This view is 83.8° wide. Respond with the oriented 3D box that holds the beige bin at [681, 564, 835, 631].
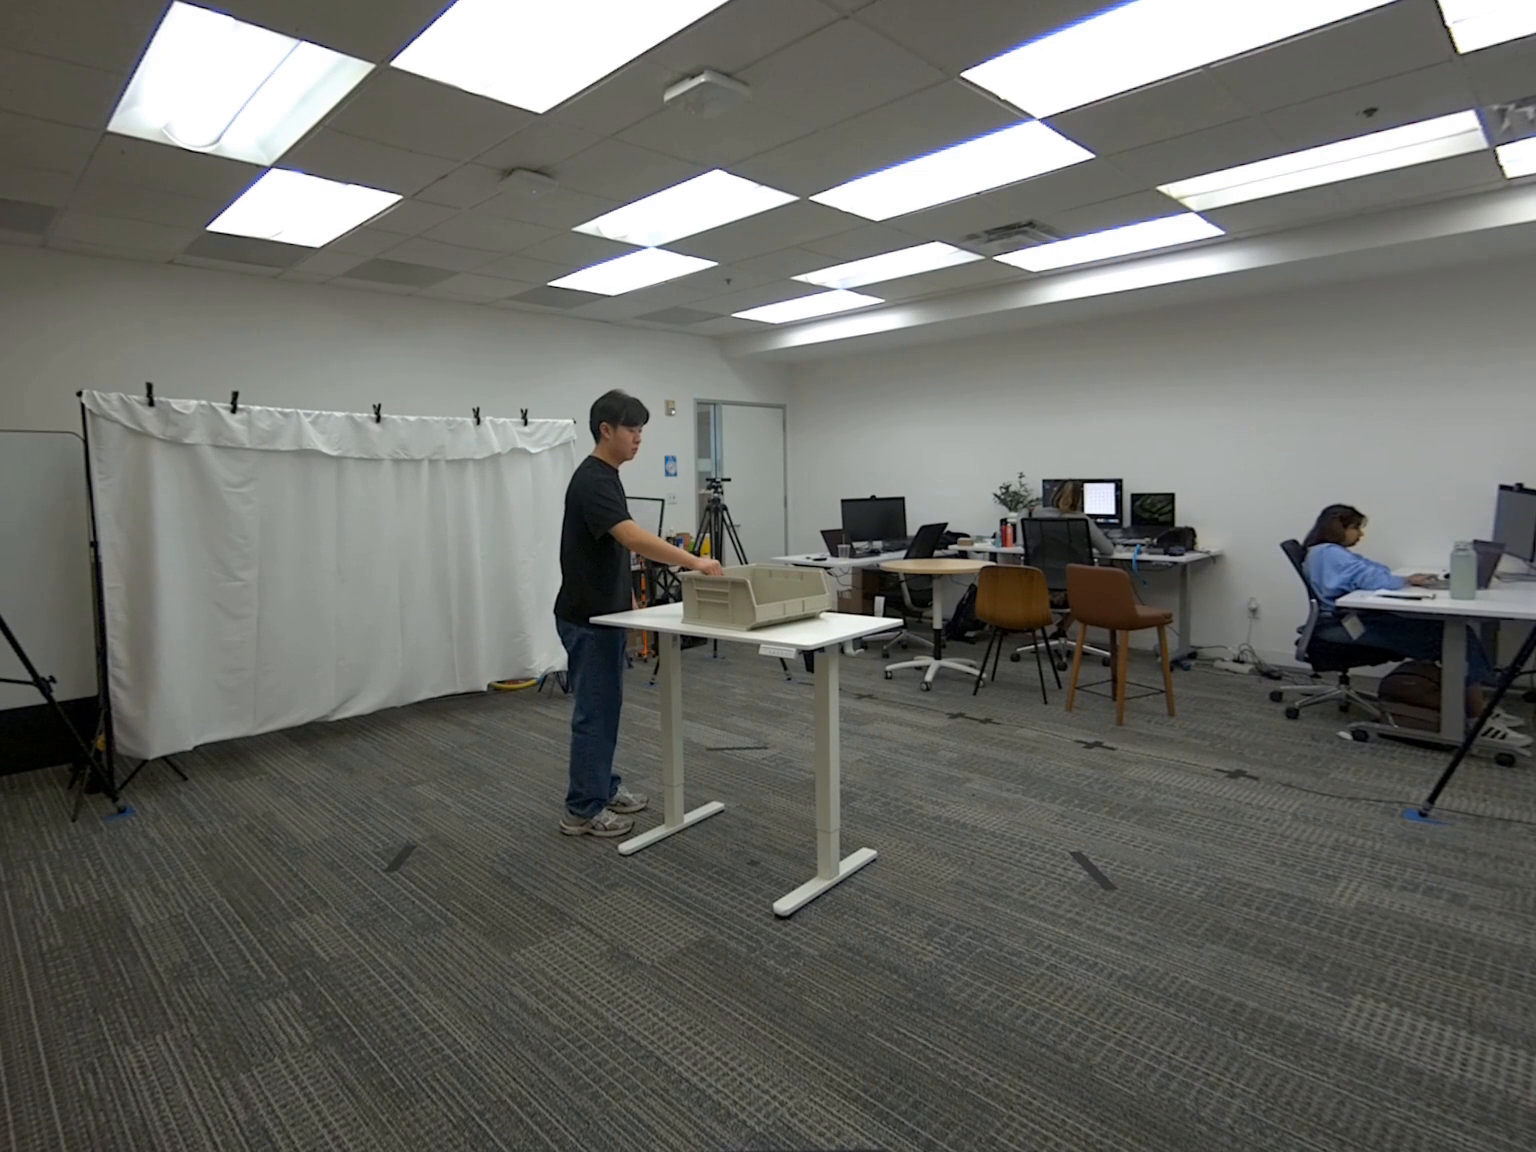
[{"bbox_3d":[-0.044,0.073,3.077,0.389,0.188,0.411,3,7,42],"label":"beige bin"}]
